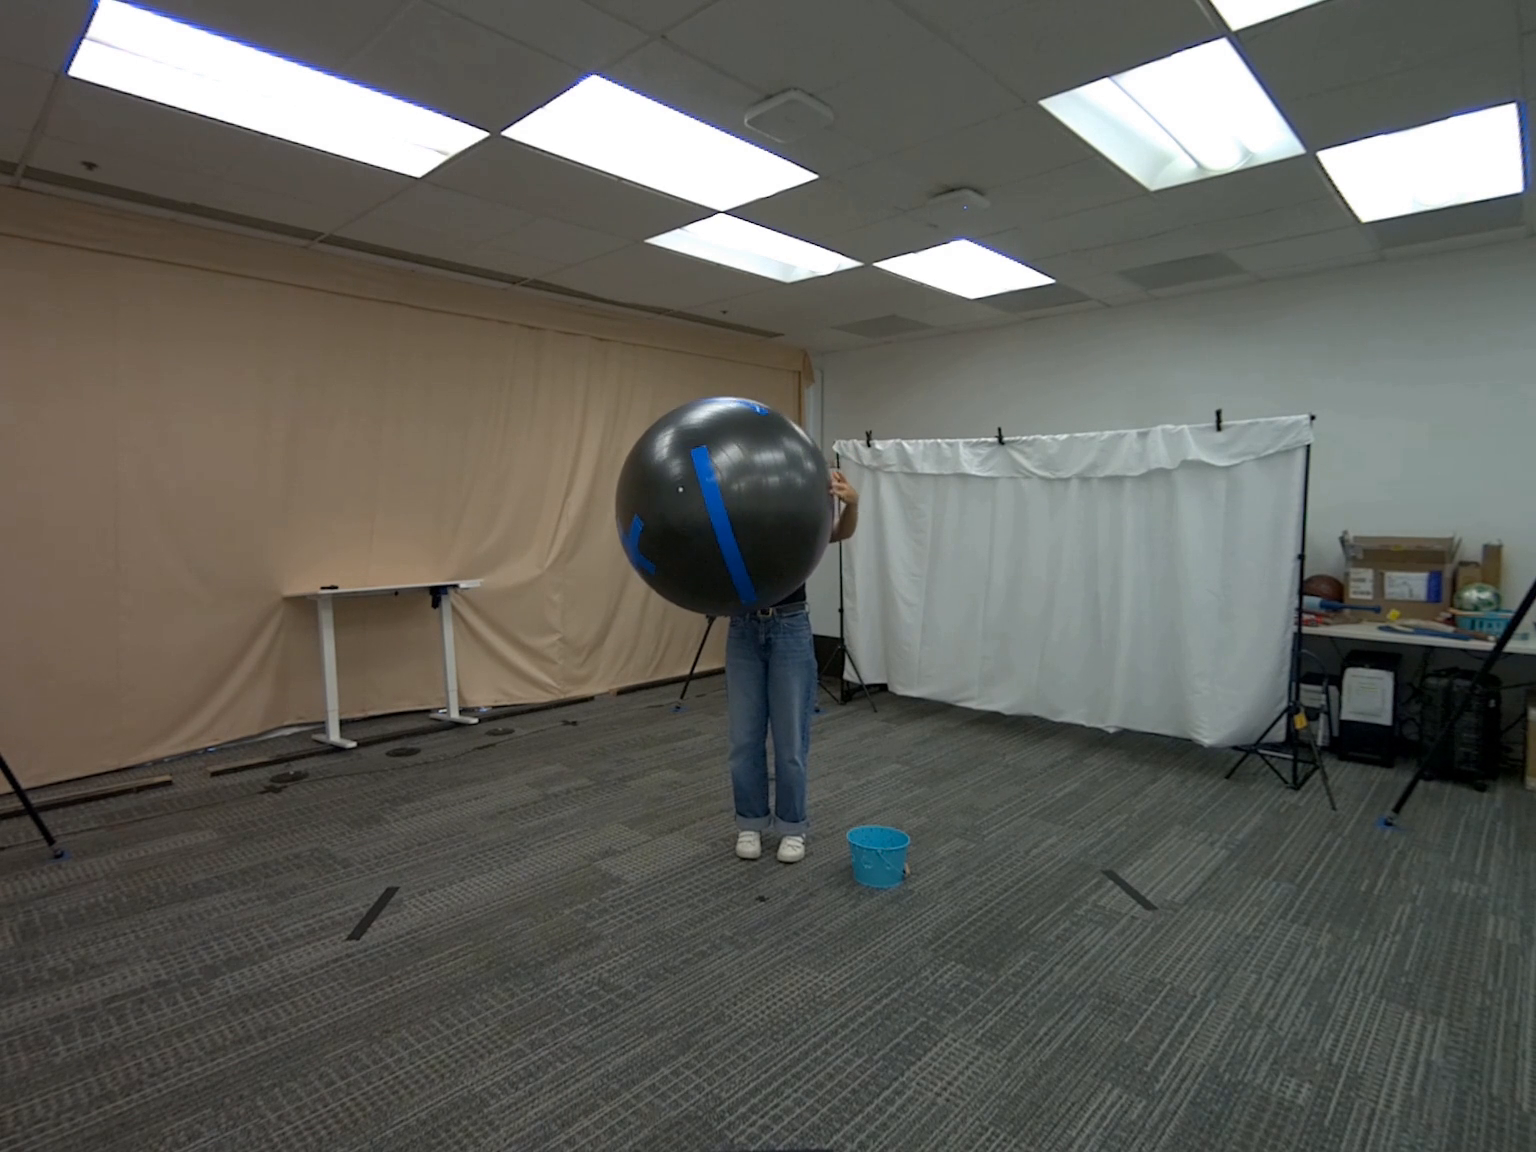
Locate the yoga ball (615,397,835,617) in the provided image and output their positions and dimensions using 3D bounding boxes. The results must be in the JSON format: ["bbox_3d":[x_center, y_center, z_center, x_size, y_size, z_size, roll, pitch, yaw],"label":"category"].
[{"bbox_3d":[-0.149,-0.233,2.924,0.757,0.756,0.760,0,4,-2],"label":"yoga ball"}]
